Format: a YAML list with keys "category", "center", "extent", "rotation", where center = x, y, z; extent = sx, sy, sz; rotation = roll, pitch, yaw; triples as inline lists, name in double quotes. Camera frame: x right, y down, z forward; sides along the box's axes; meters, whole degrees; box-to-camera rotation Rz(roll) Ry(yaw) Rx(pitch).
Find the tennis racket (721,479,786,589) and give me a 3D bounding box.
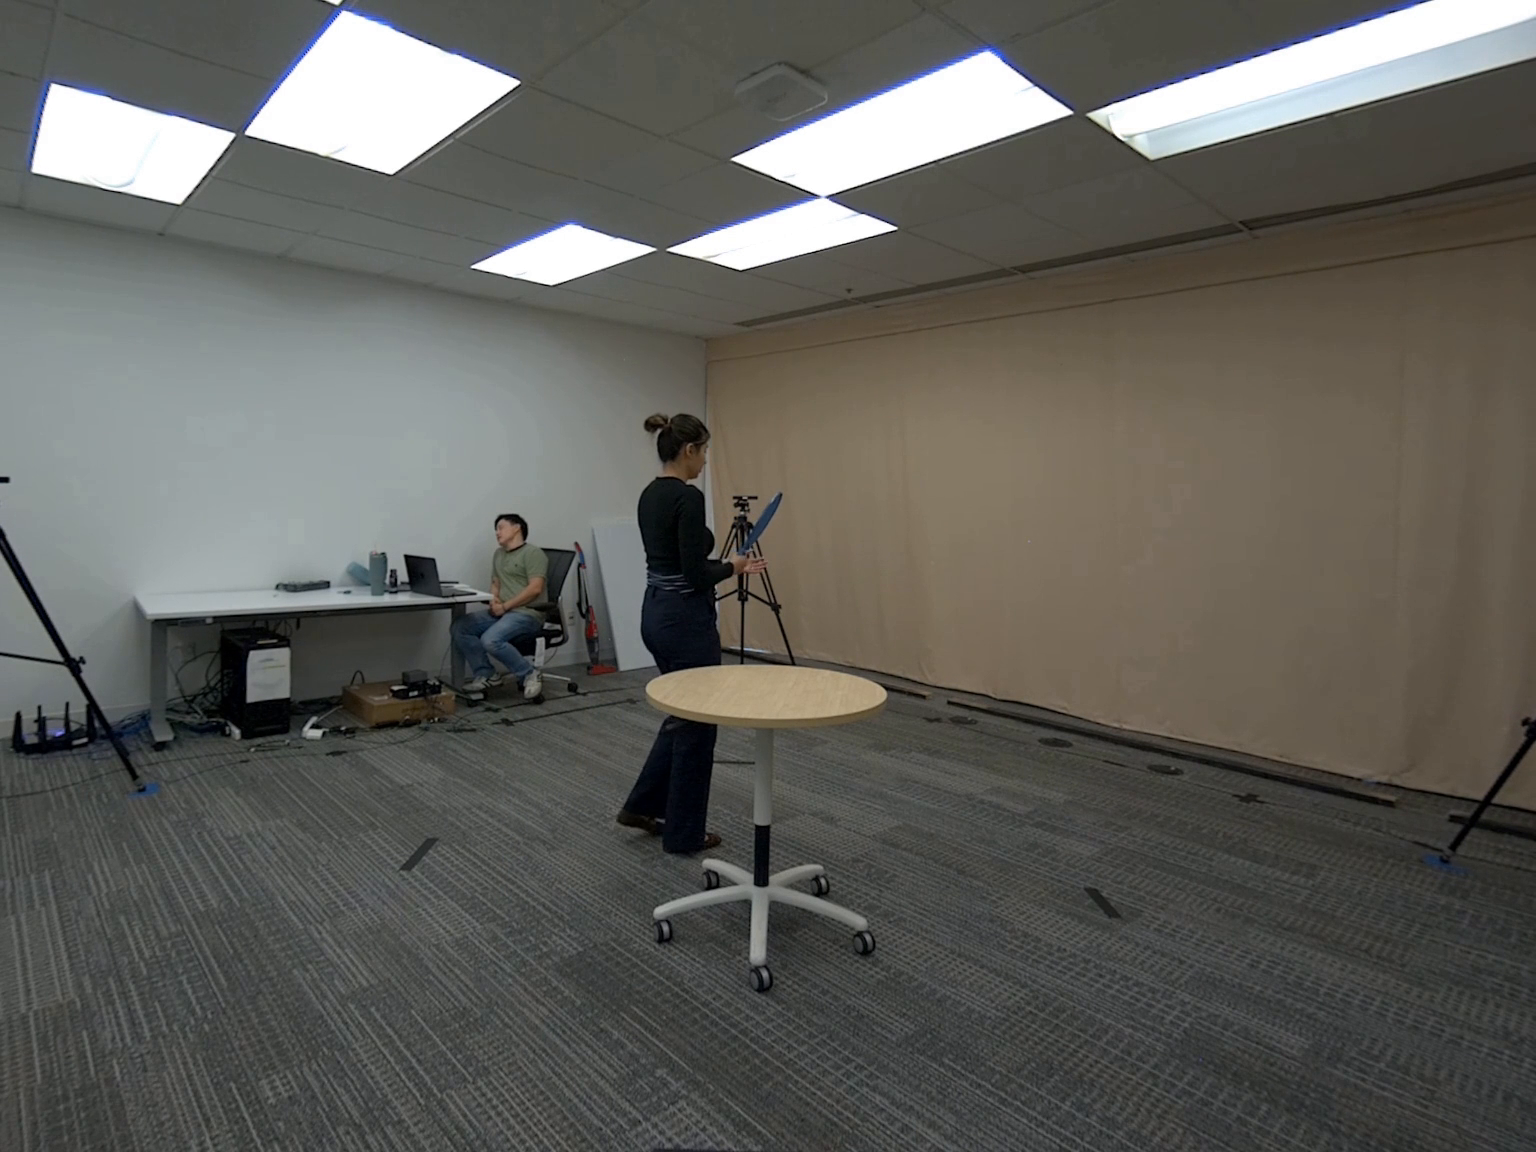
- category: "tennis racket"
  center: [-0.061, -0.170, 3.399]
  extent: [0.032, 0.435, 0.210]
  rotation: [29, -26, 9]
